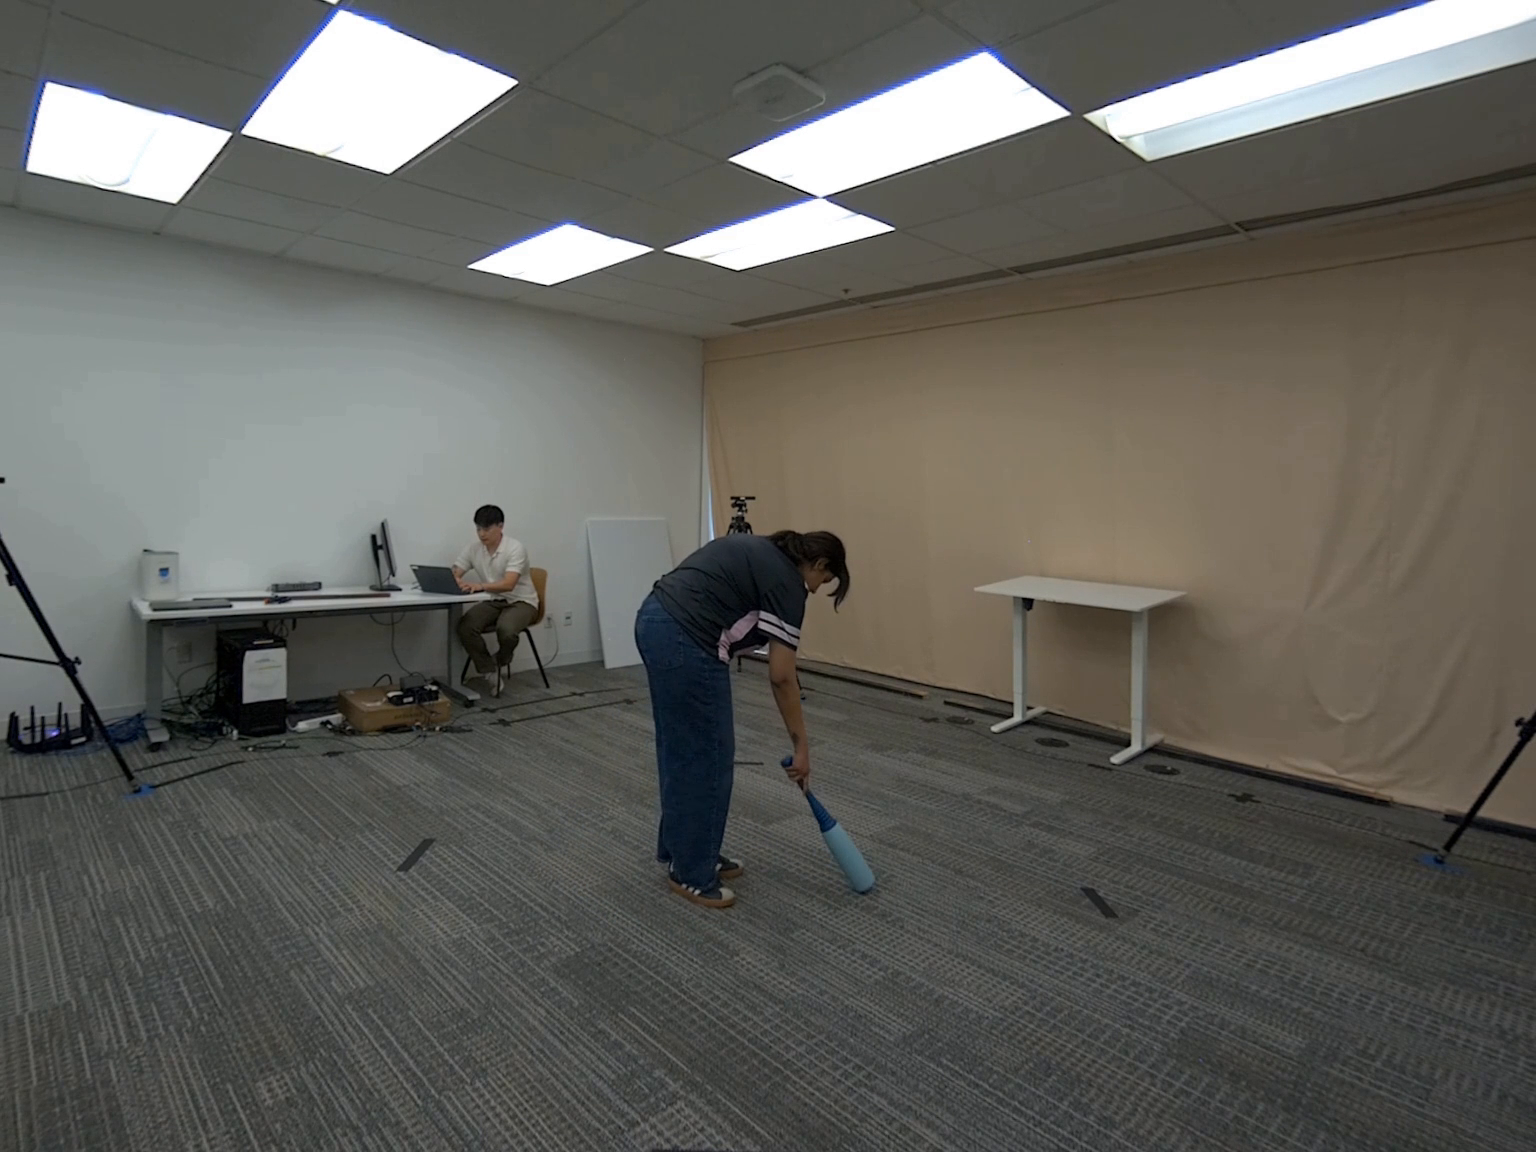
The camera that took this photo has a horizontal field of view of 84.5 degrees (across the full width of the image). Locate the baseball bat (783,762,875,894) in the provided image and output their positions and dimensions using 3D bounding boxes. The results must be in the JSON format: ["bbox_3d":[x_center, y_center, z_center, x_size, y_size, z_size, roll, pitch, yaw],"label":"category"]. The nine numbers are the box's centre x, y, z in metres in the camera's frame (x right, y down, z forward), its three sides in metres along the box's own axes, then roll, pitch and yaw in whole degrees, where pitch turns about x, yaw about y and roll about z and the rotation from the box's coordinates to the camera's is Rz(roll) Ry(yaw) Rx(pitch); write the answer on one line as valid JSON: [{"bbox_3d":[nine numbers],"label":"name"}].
[{"bbox_3d":[0.197,0.886,3.002,0.089,0.544,0.089,-33,-2,-2],"label":"baseball bat"}]
